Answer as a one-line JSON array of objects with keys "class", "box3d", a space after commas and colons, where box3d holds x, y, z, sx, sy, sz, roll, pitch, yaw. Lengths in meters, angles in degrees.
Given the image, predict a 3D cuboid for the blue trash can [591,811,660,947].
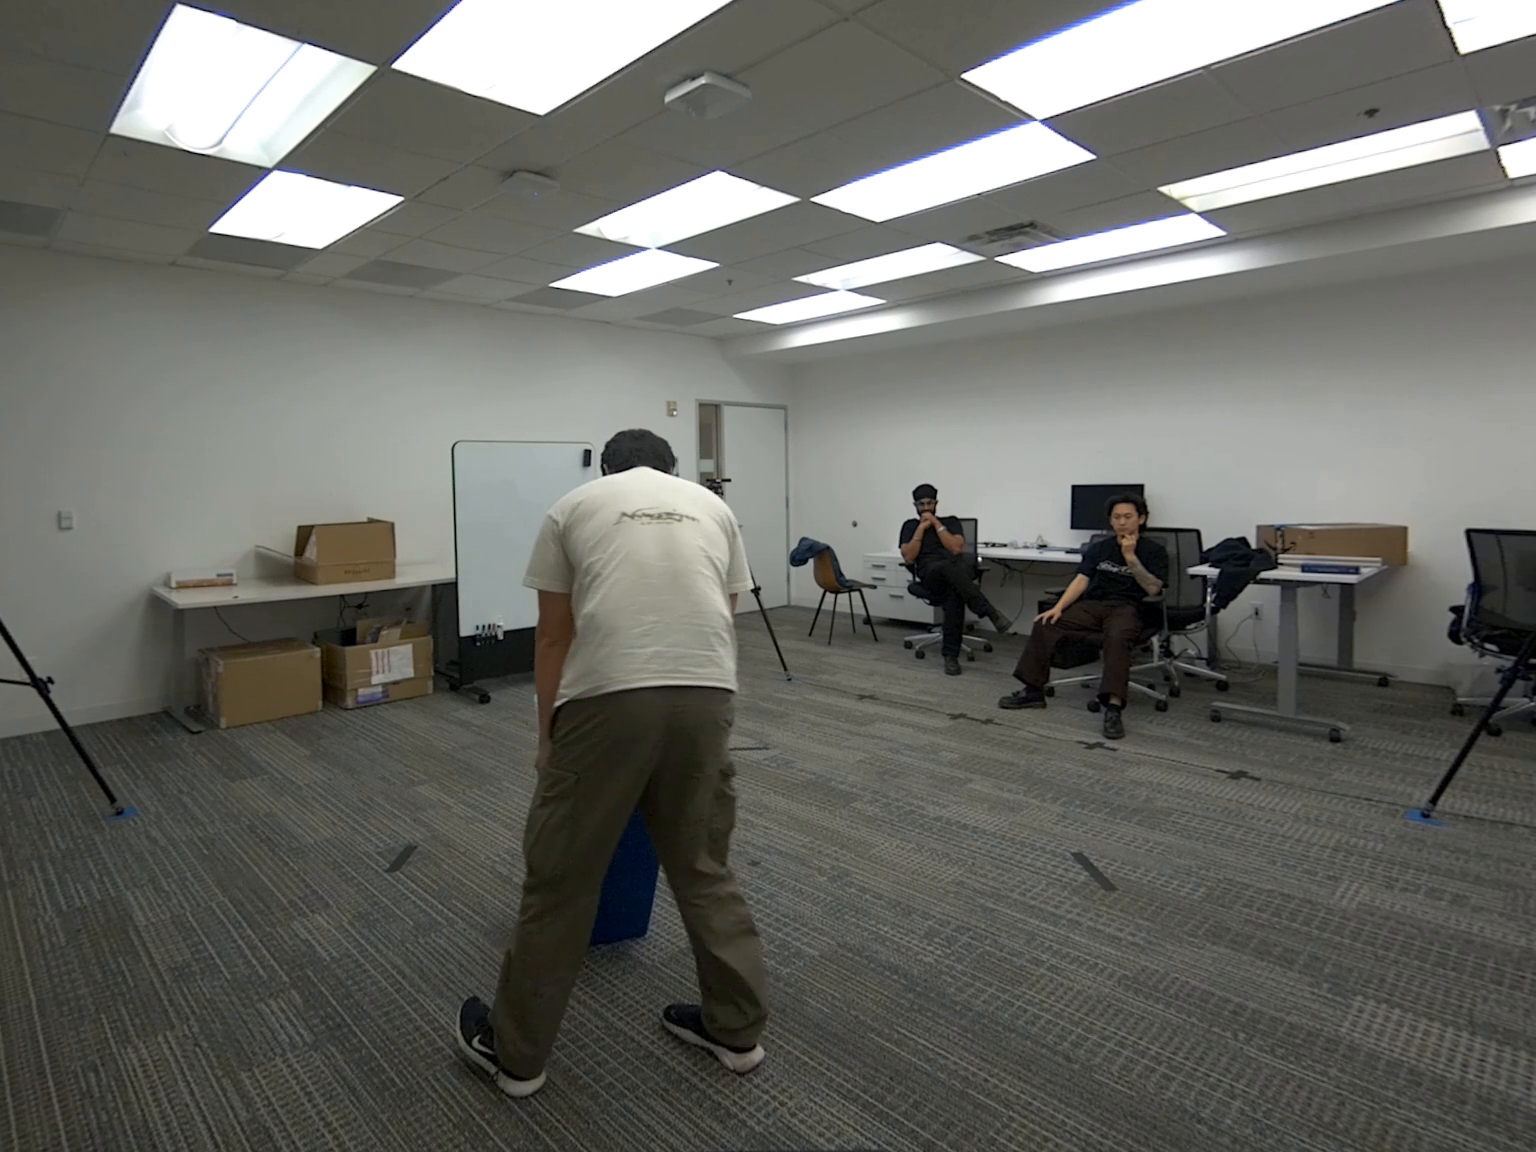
[{"class": "blue trash can", "box3d": [-0.500, 0.730, 2.550, 0.371, 0.701, 0.388, -2, 29, -23]}]
